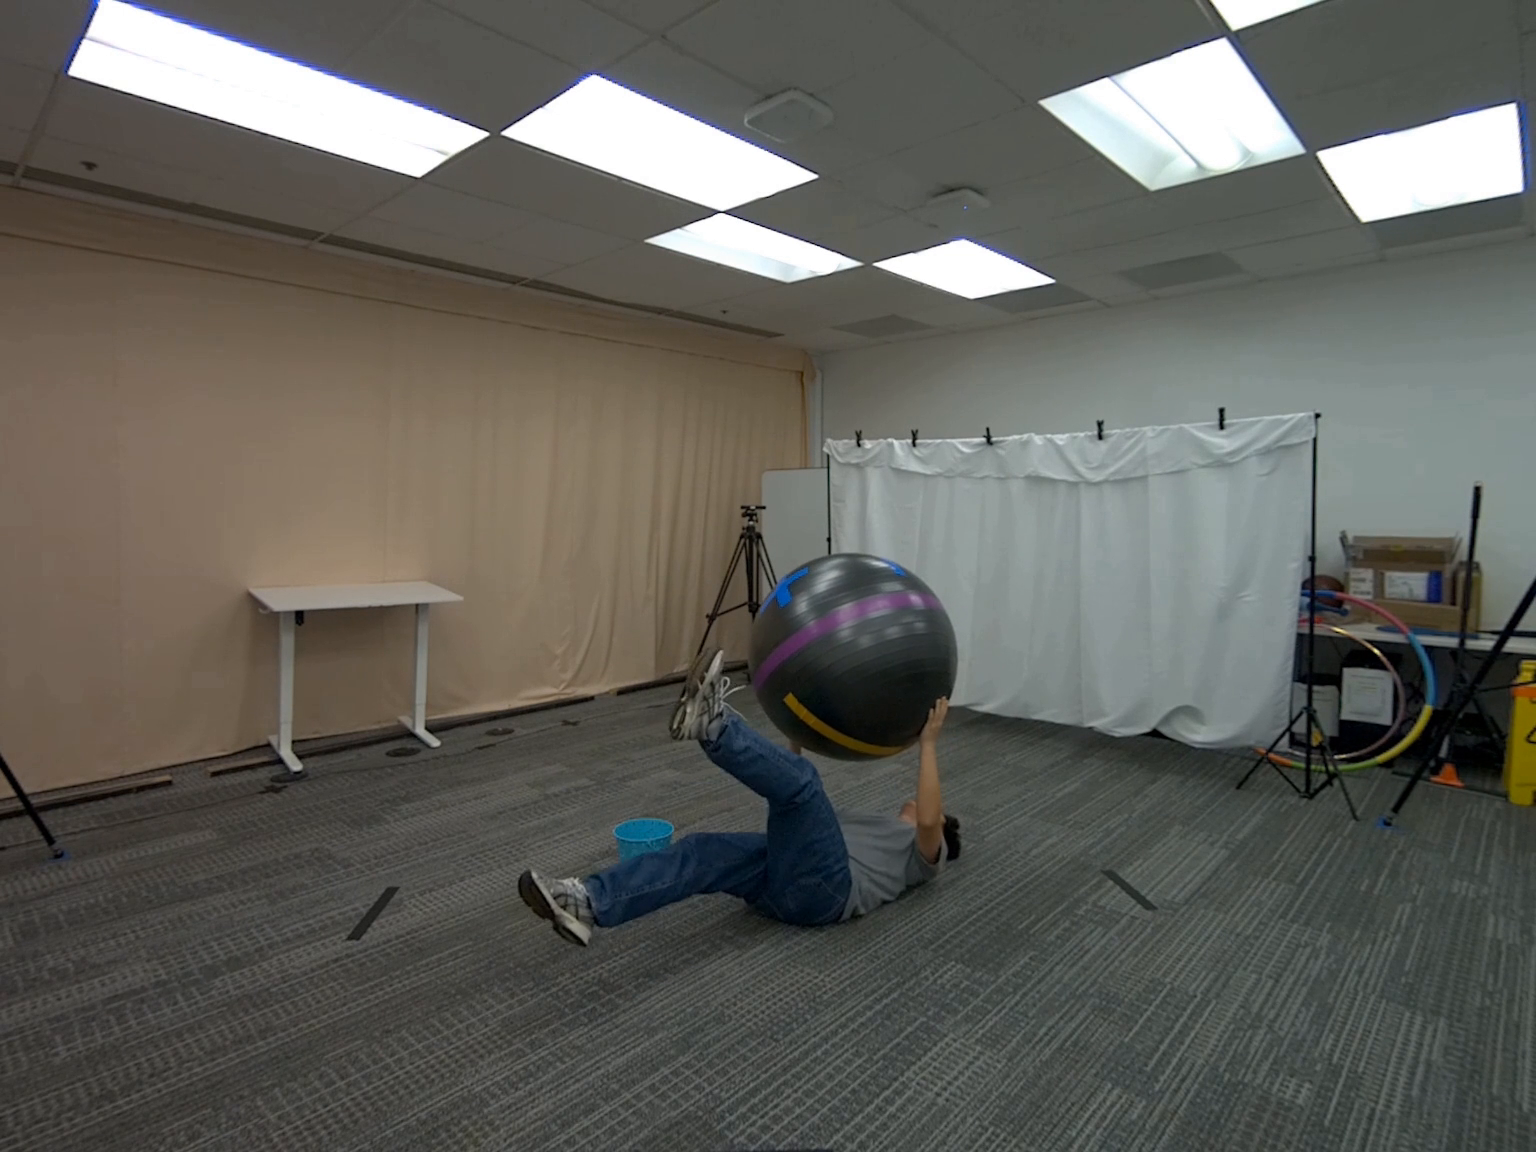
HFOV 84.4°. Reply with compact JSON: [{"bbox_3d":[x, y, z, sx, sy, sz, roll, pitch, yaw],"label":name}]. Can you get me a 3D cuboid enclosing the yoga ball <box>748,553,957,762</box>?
[{"bbox_3d":[0.312,0.303,3.107,0.757,0.756,0.760,0,4,-2],"label":"yoga ball"}]
